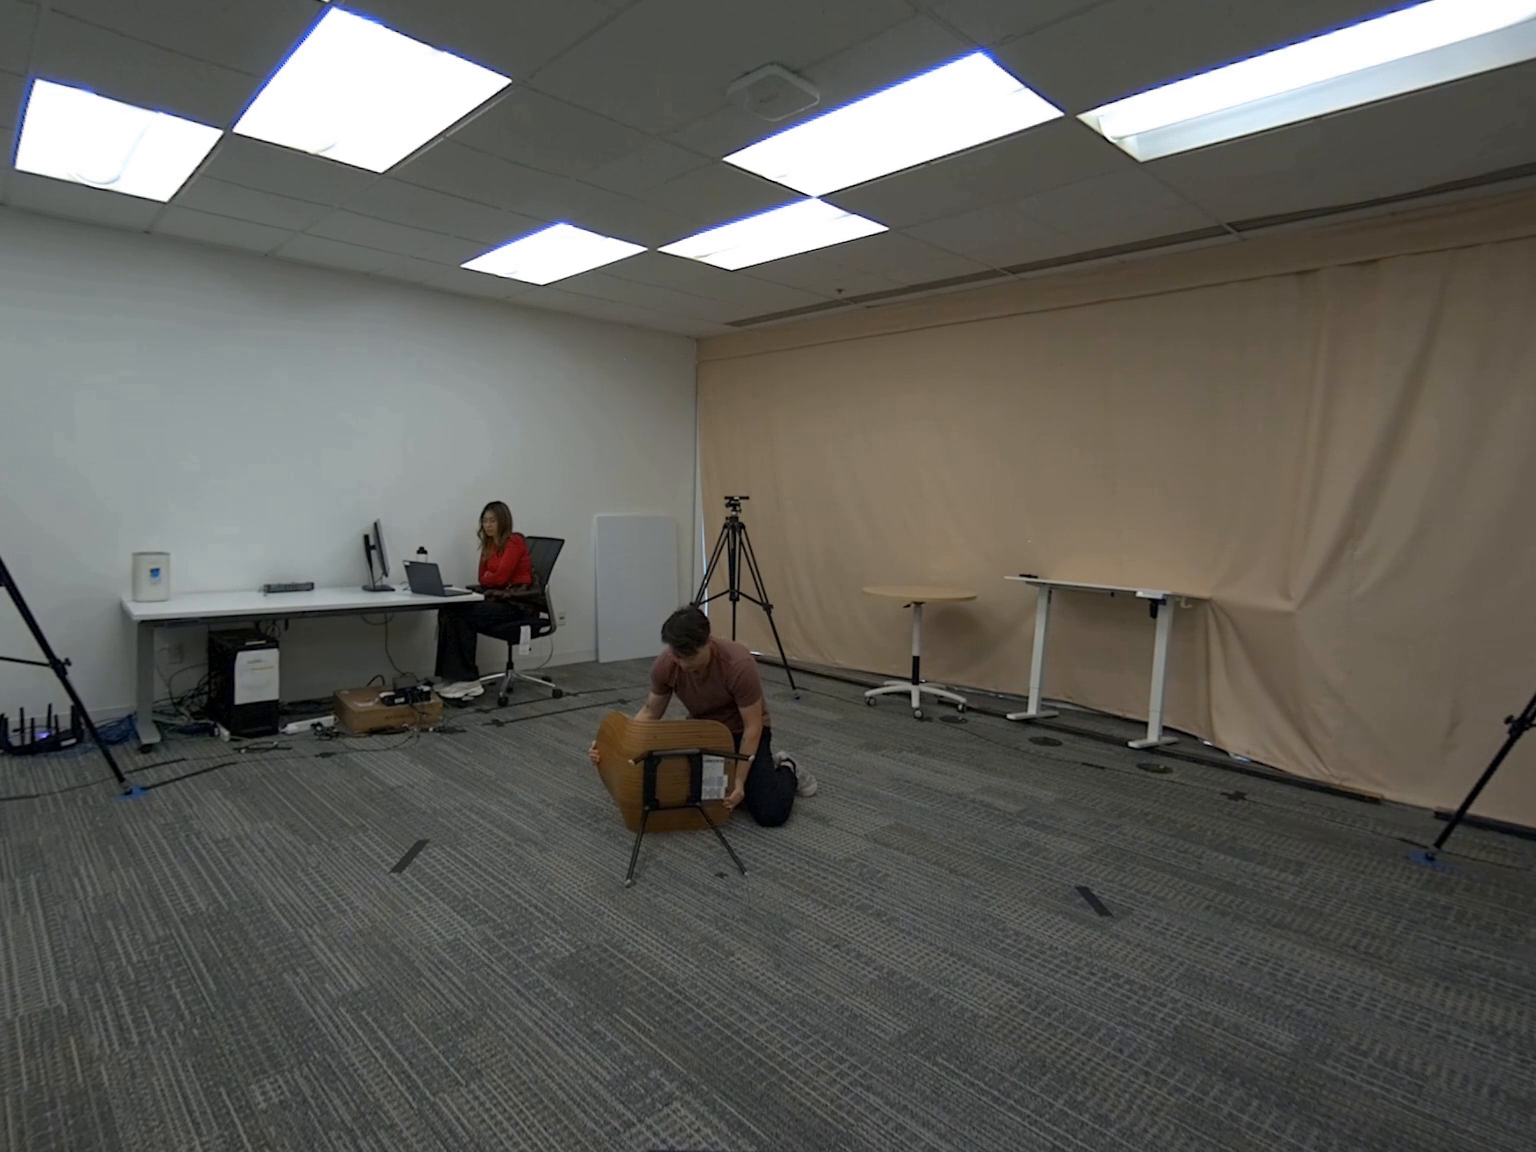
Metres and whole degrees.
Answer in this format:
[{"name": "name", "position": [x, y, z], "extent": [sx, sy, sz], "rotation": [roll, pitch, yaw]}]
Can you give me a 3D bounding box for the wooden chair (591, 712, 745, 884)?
[{"name": "wooden chair", "position": [-0.390, 0.840, 3.441], "extent": [0.515, 0.477, 0.893], "rotation": [1, 5, -19]}]
